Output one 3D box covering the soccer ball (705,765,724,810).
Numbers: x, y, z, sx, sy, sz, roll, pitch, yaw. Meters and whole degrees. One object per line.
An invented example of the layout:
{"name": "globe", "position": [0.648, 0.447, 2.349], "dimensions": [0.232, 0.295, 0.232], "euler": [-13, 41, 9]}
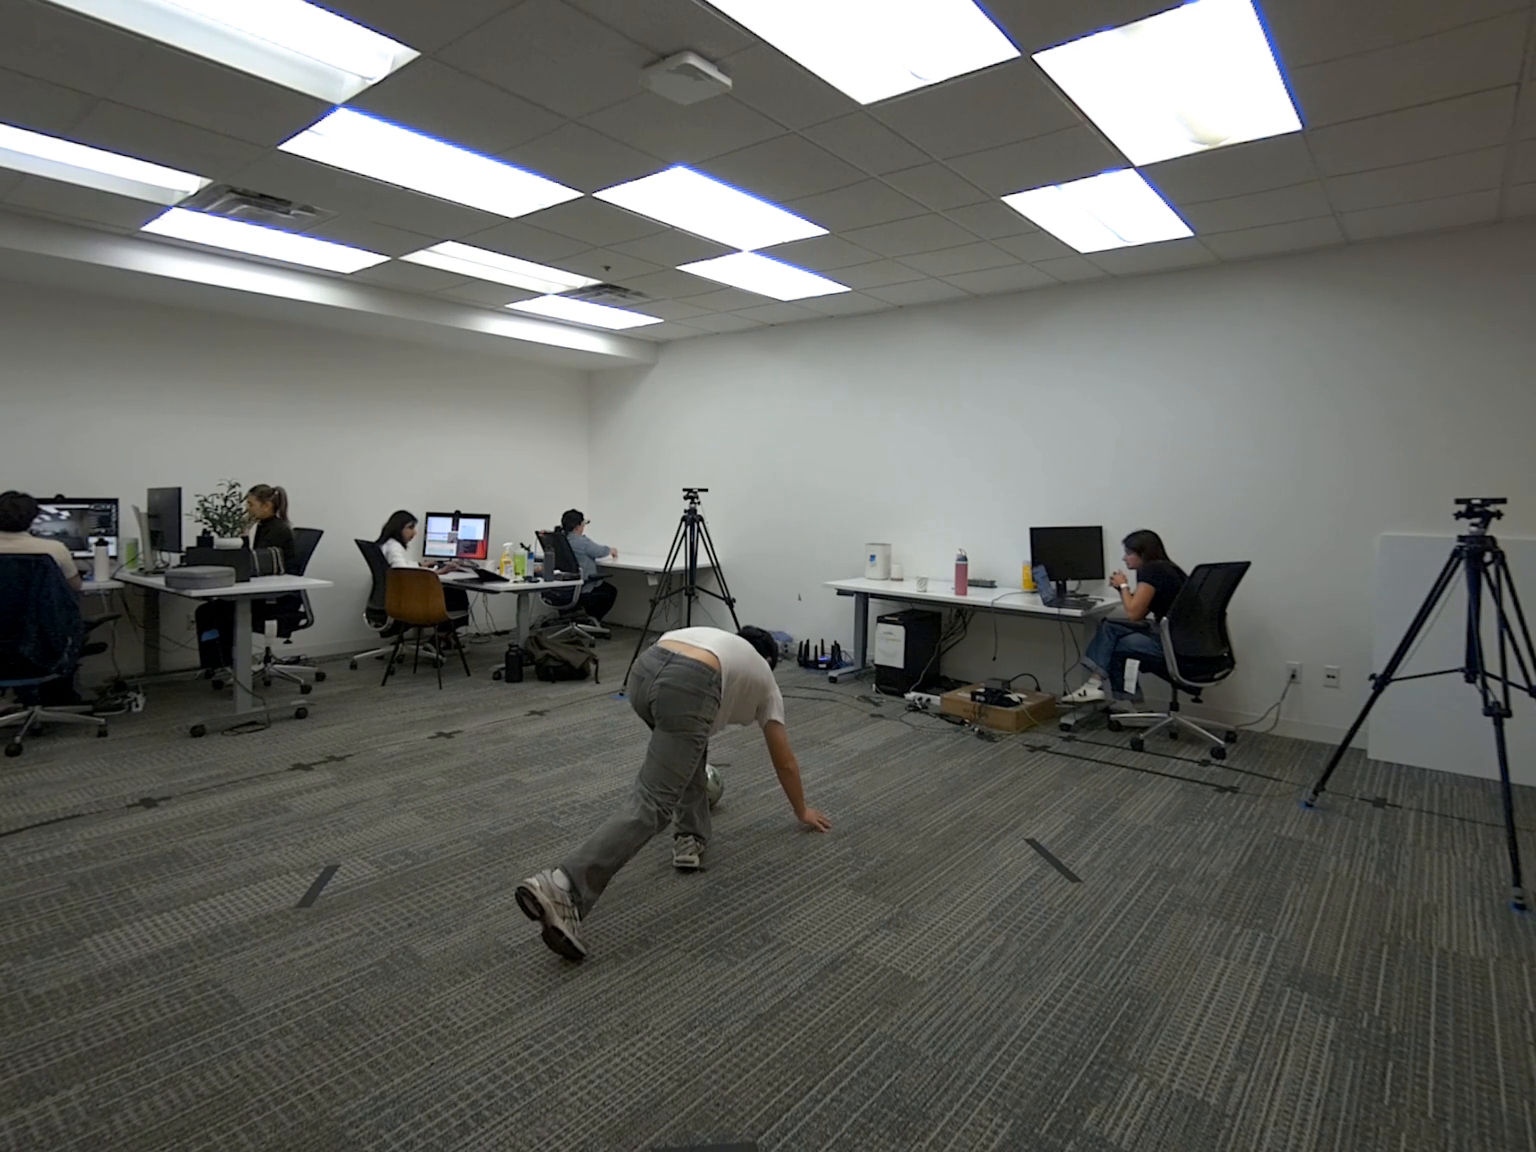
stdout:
{"name": "soccer ball", "position": [-0.280, 0.911, 3.724], "dimensions": [0.187, 0.187, 0.188], "euler": [1, 4, -2]}
